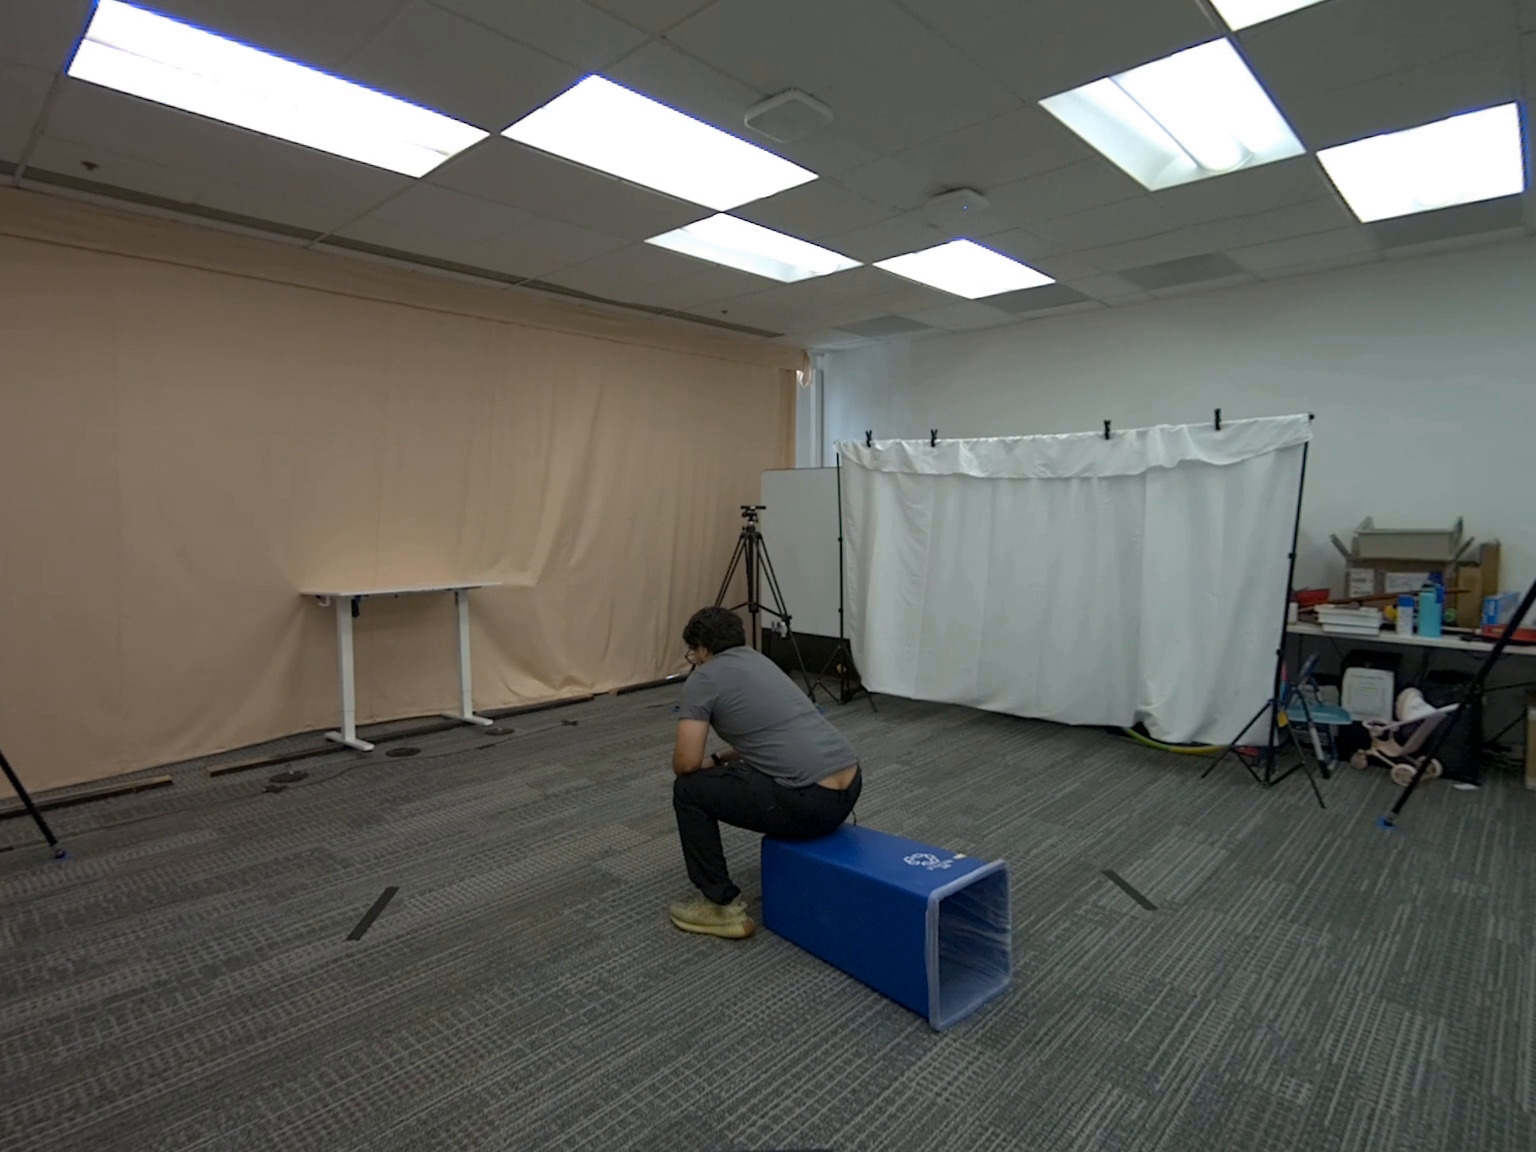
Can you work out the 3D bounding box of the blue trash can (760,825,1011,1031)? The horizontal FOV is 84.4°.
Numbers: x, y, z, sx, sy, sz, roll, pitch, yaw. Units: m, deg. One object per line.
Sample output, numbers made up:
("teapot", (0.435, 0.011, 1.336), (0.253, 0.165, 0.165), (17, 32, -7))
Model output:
("blue trash can", (0.339, 0.999, 2.587), (0.366, 0.373, 0.737), (-3, 4, -42))
